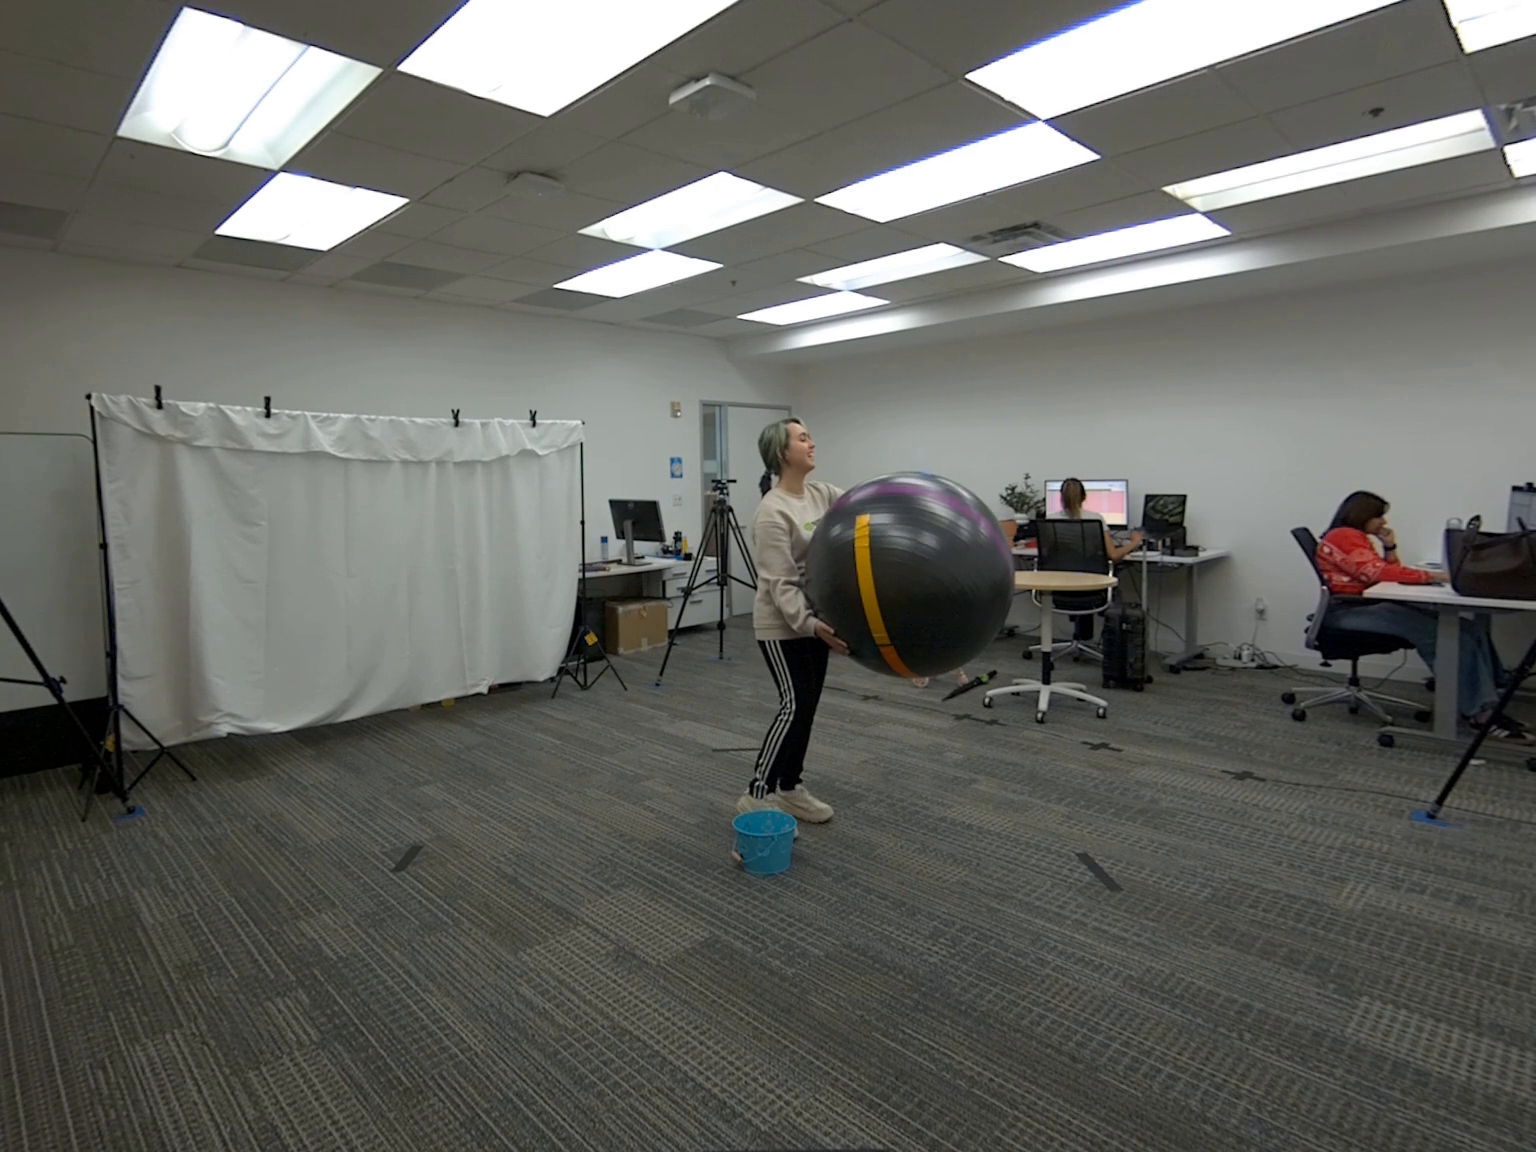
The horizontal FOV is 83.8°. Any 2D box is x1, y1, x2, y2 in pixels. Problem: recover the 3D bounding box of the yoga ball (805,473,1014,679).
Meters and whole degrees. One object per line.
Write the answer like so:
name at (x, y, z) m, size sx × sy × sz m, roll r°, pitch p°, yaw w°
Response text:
yoga ball at (0.516, 0.005, 3.153) m, size 0.757 × 0.755 × 0.762 m, roll -1°, pitch 5°, yaw -2°
